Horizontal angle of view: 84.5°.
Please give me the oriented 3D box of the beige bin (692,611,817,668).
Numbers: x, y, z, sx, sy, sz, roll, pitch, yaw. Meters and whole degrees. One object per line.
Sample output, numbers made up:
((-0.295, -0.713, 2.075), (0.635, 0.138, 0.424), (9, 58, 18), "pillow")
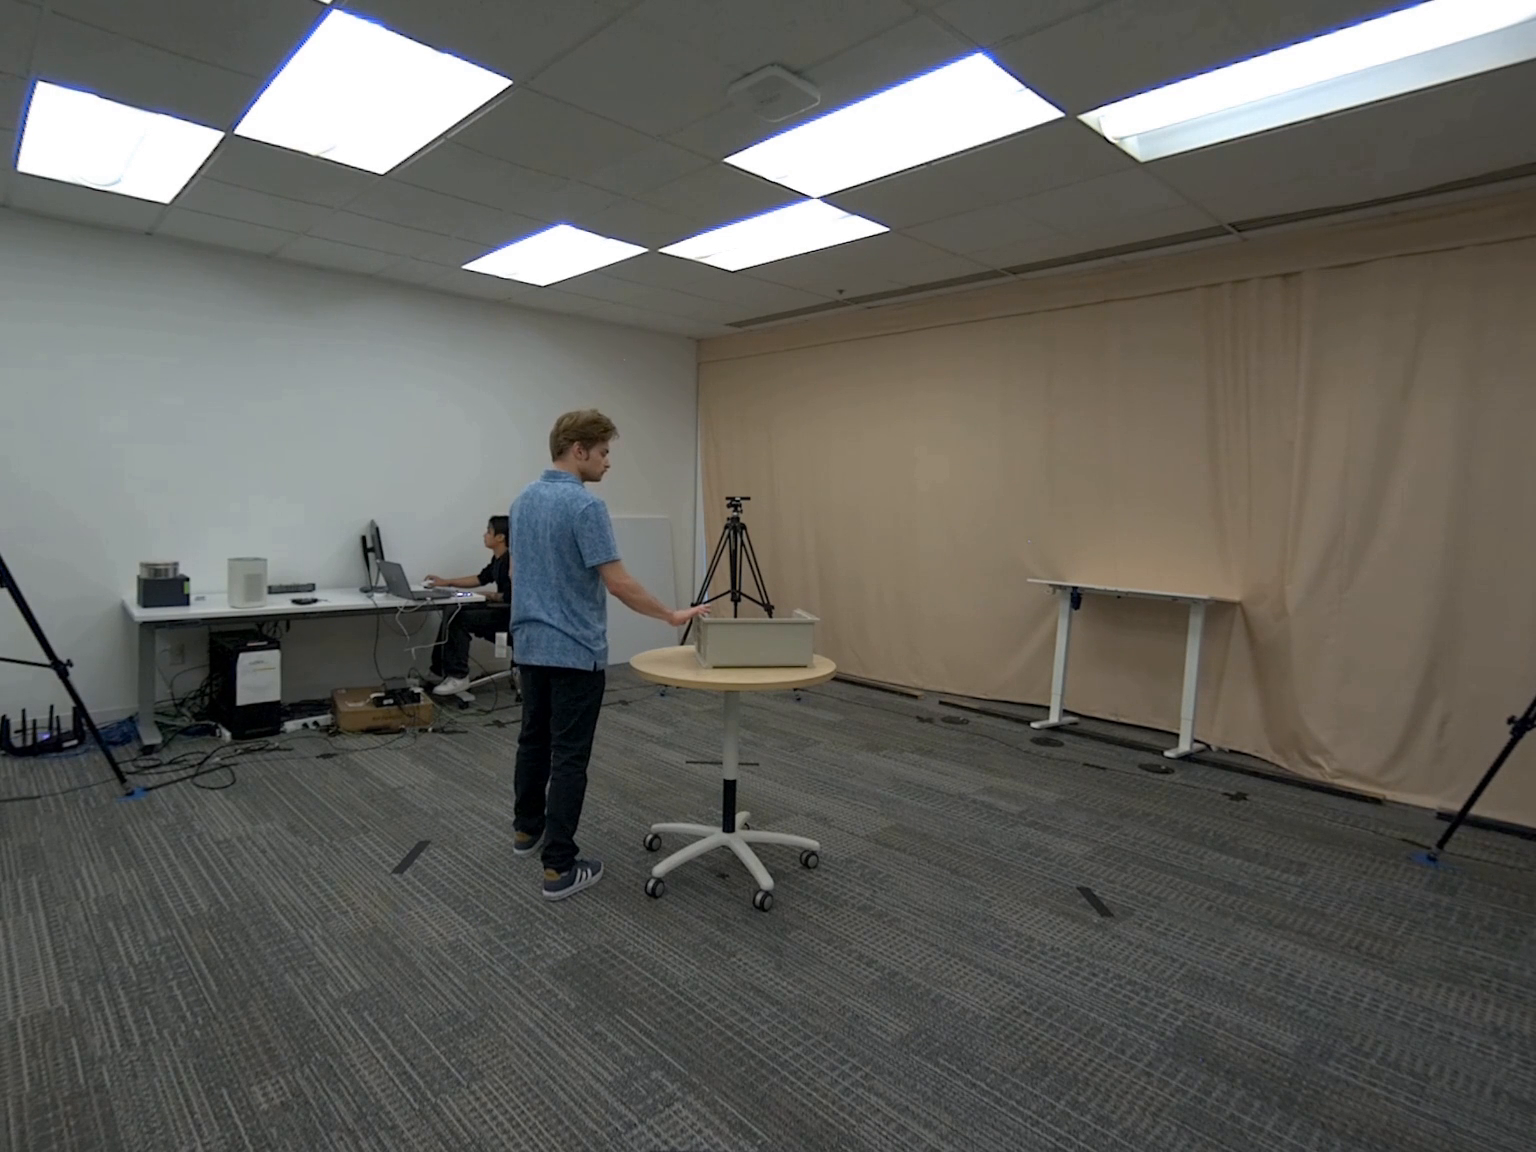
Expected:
((-0.069, 0.225, 3.190), (0.419, 0.188, 0.382), (1, 6, -10), "beige bin")
